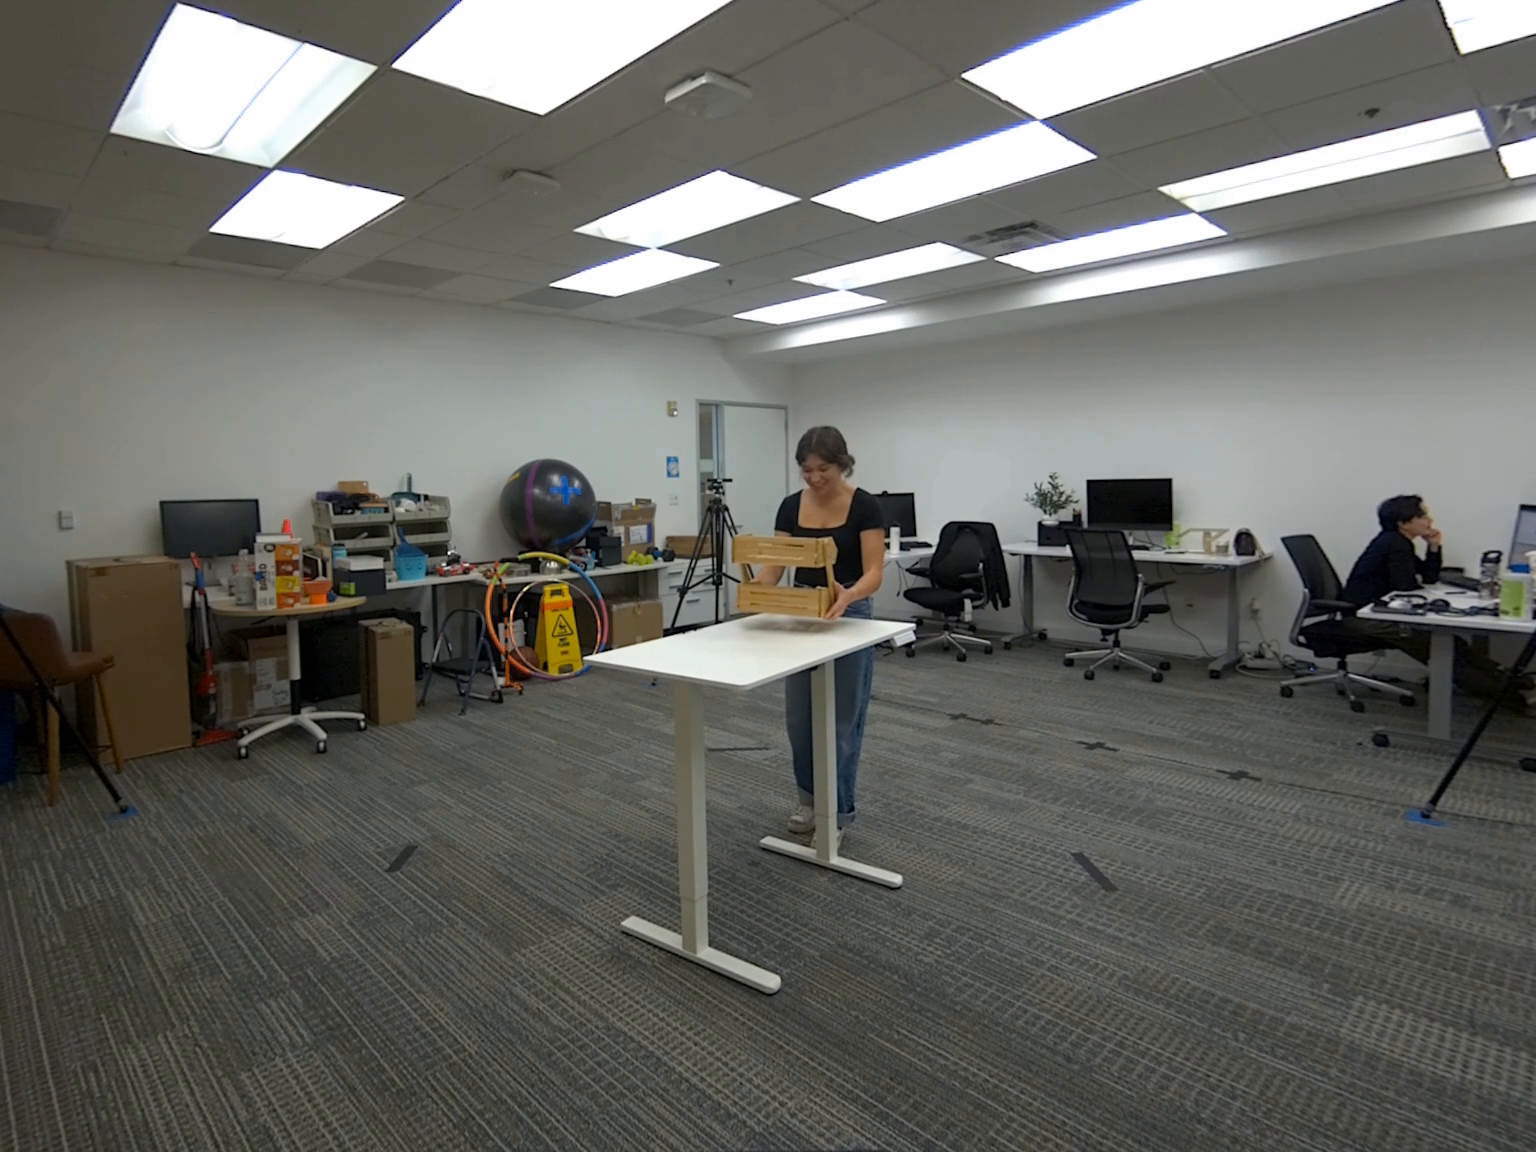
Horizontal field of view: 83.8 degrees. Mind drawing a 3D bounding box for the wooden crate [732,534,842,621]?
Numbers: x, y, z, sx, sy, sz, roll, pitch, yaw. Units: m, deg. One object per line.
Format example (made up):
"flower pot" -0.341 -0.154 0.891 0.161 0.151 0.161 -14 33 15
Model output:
"wooden crate" 0.071 -0.010 2.937 0.331 0.272 0.297 3 5 22
